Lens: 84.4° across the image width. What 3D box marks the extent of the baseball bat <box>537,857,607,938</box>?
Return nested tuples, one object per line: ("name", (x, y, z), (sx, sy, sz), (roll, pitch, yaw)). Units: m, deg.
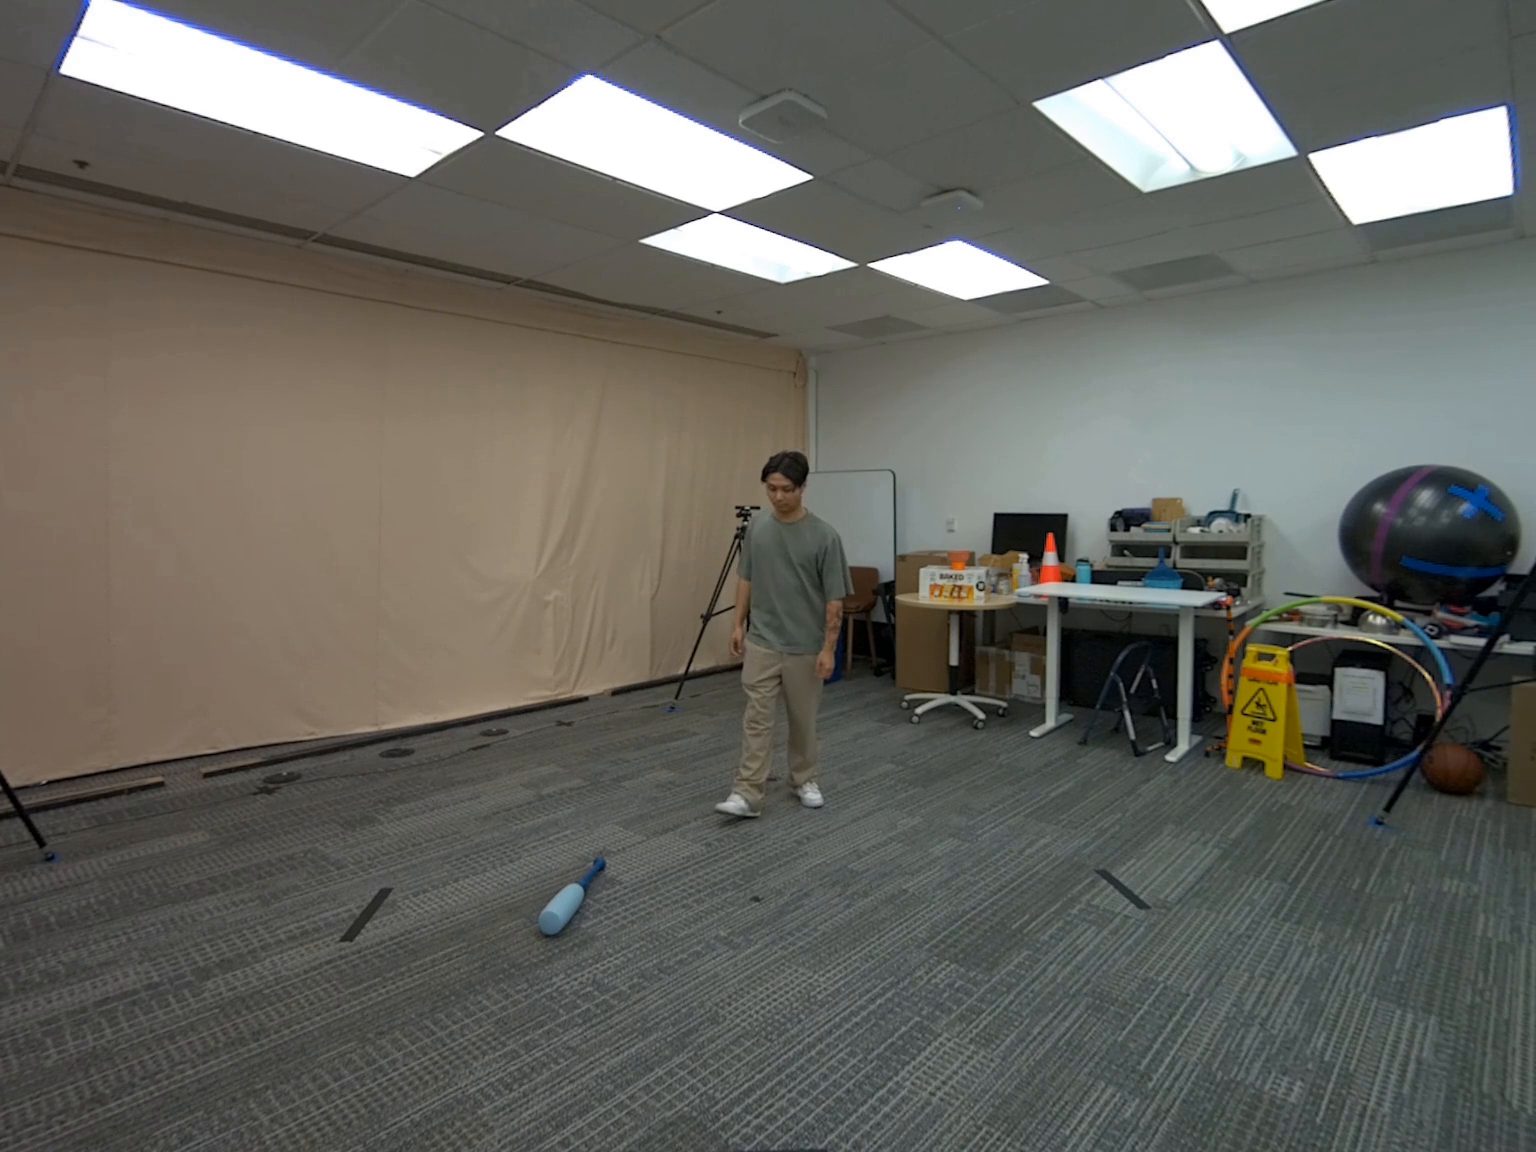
("baseball bat", (-0.677, 1.112, 2.970), (0.090, 0.089, 0.539), (1, 2, 6))
